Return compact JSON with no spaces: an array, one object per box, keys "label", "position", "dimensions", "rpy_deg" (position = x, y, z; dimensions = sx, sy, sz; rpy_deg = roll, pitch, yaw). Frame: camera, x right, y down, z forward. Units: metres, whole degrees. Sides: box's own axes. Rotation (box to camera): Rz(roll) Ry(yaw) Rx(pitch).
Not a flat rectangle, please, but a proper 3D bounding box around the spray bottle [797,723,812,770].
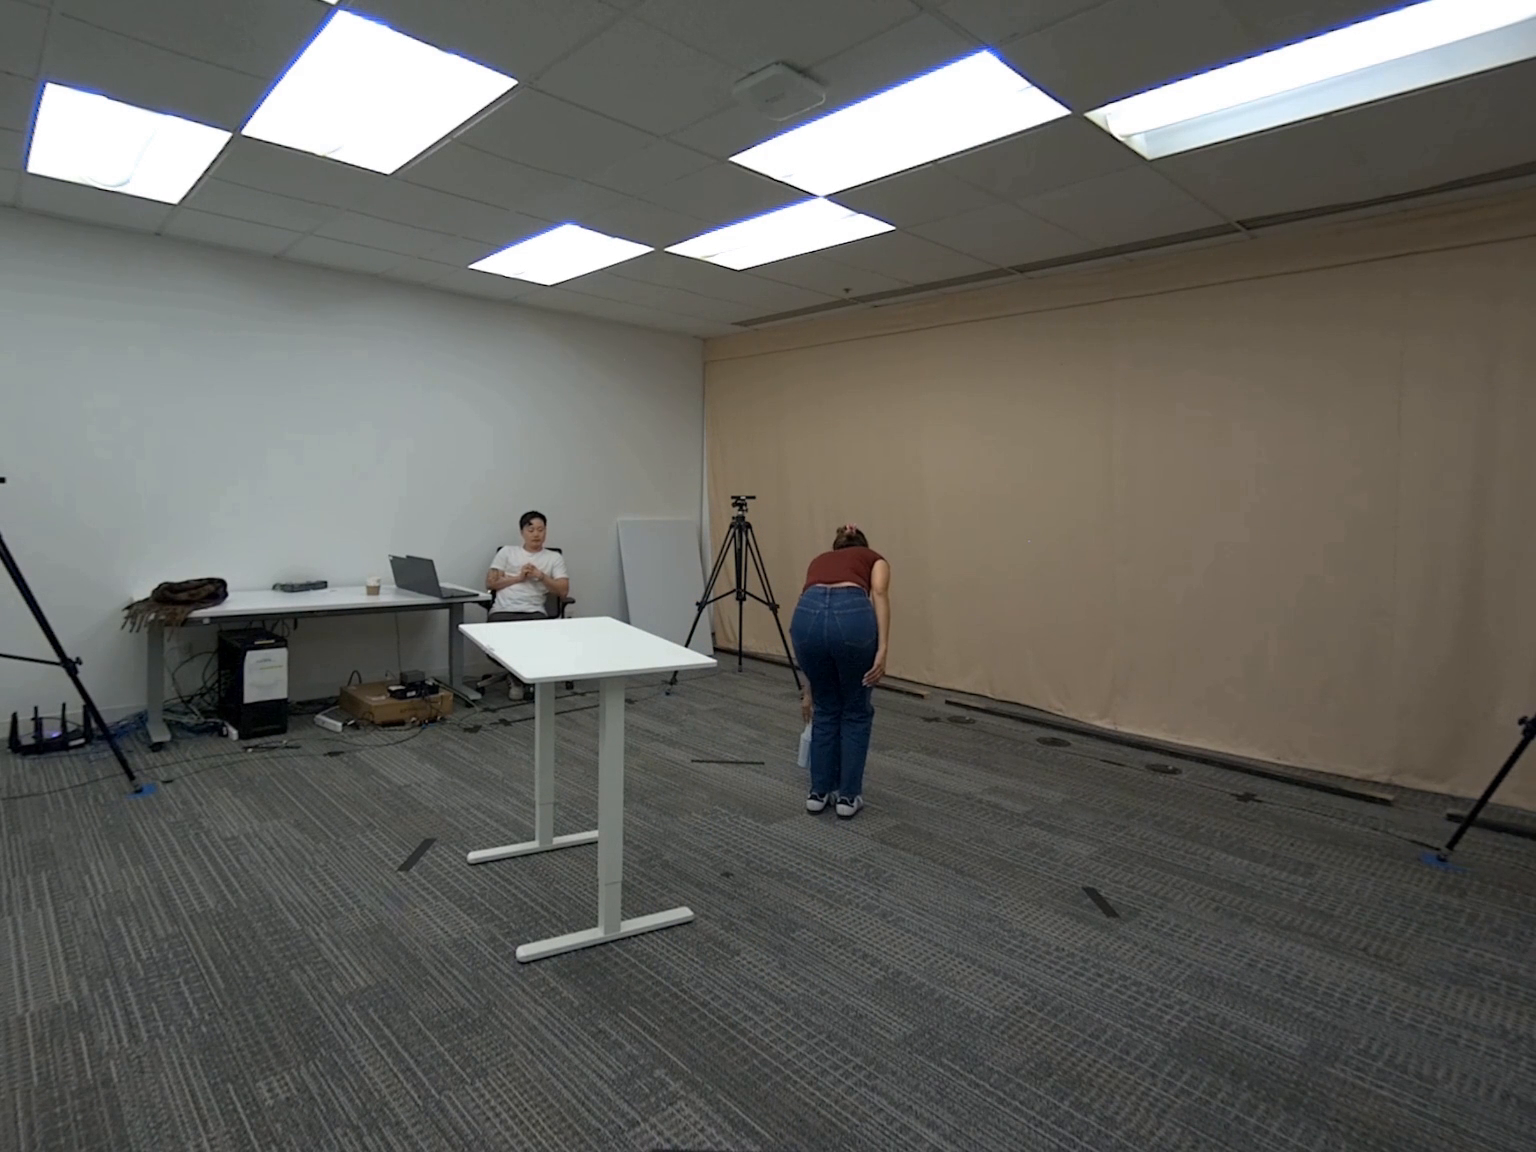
[{"label":"spray bottle","position":[0.196,0.794,4.161],"dimensions":[0.086,0.296,0.091],"rpy_deg":[4,8,-6]}]
